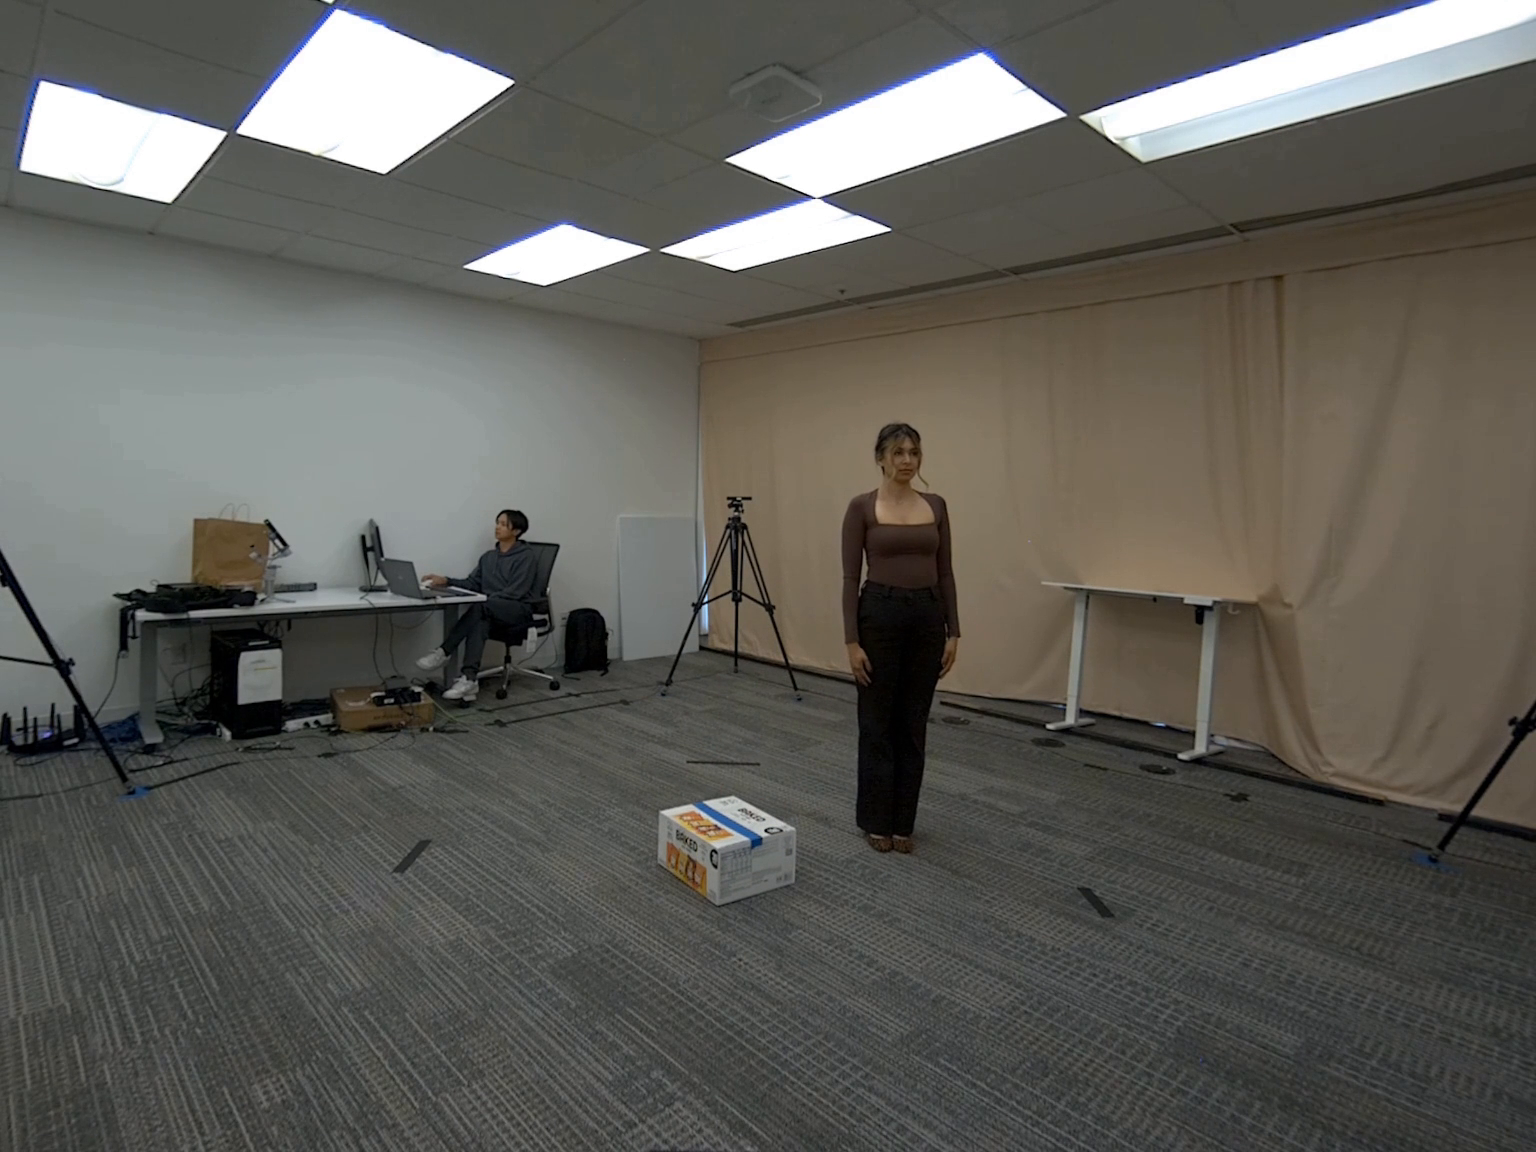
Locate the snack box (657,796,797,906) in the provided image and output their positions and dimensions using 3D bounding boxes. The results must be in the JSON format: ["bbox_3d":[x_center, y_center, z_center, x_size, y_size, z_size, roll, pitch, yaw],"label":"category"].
[{"bbox_3d":[-0.162,1.004,3.109,0.333,0.205,0.415,-2,6,-36],"label":"snack box"}]
